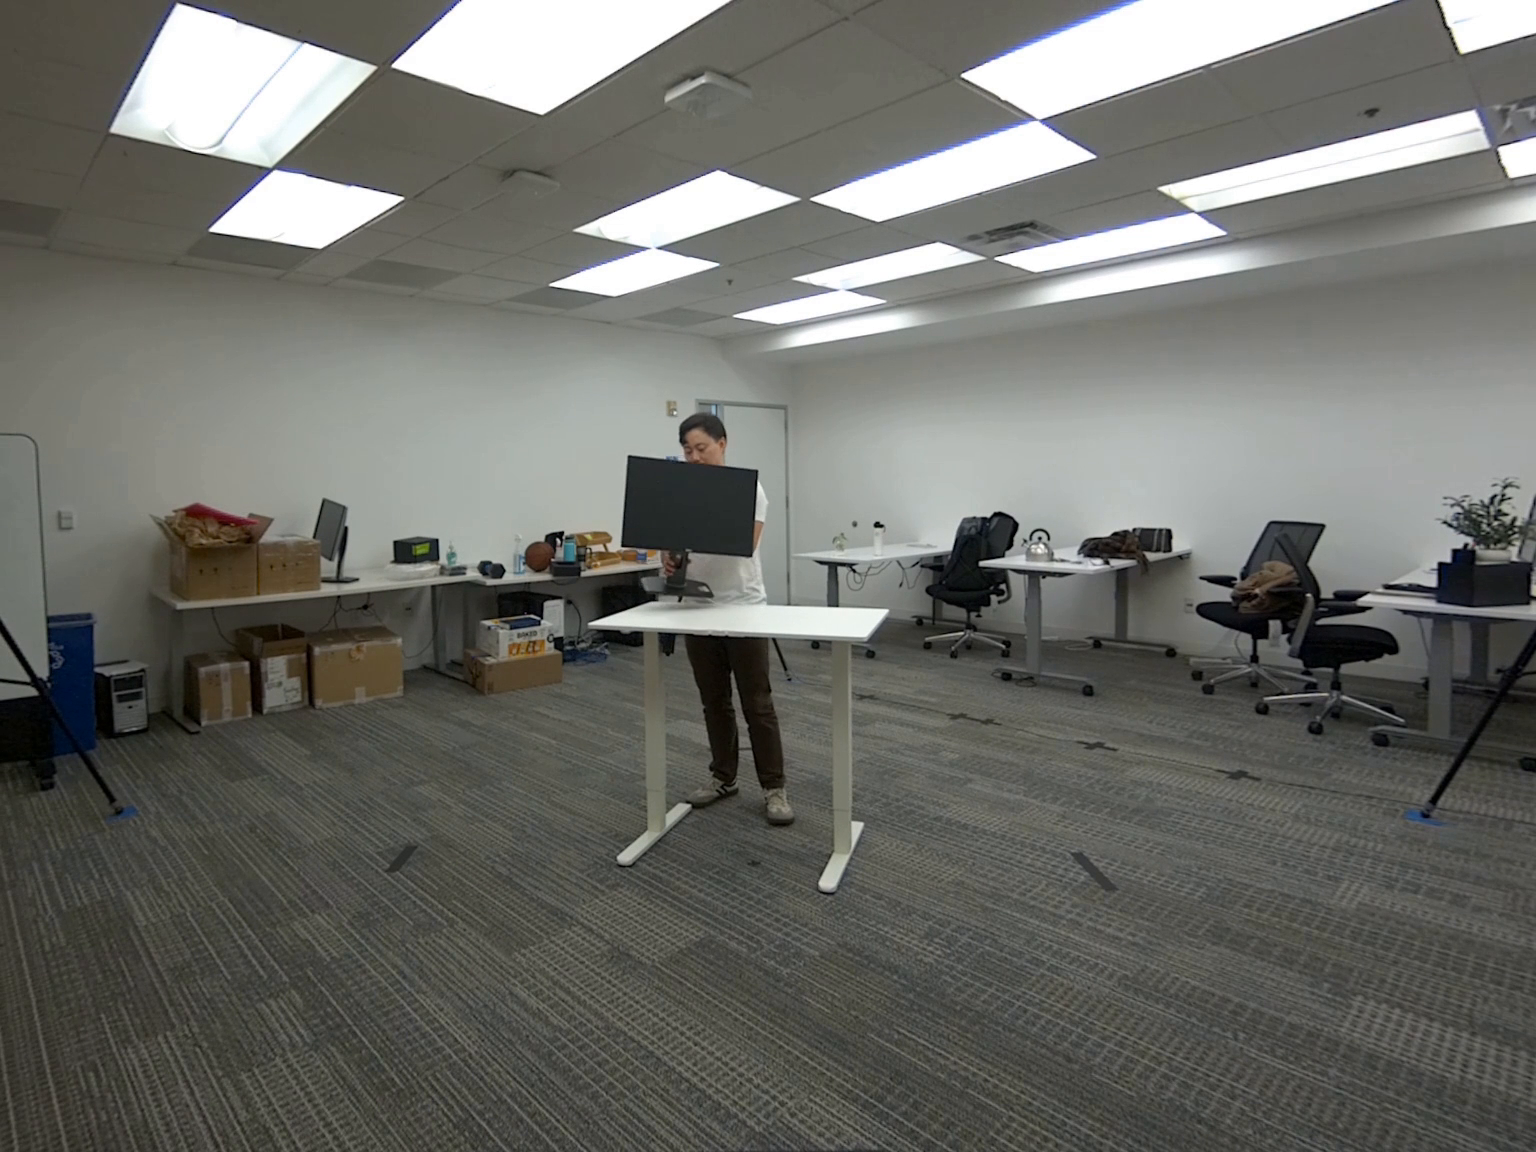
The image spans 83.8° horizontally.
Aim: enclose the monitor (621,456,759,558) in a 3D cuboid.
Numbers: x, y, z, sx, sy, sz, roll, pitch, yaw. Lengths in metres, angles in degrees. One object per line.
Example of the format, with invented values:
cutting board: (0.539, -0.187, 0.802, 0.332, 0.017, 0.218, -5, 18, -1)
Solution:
monitor: (-0.331, -0.187, 3.374, 0.528, 0.518, 0.192, 5, 12, -20)
